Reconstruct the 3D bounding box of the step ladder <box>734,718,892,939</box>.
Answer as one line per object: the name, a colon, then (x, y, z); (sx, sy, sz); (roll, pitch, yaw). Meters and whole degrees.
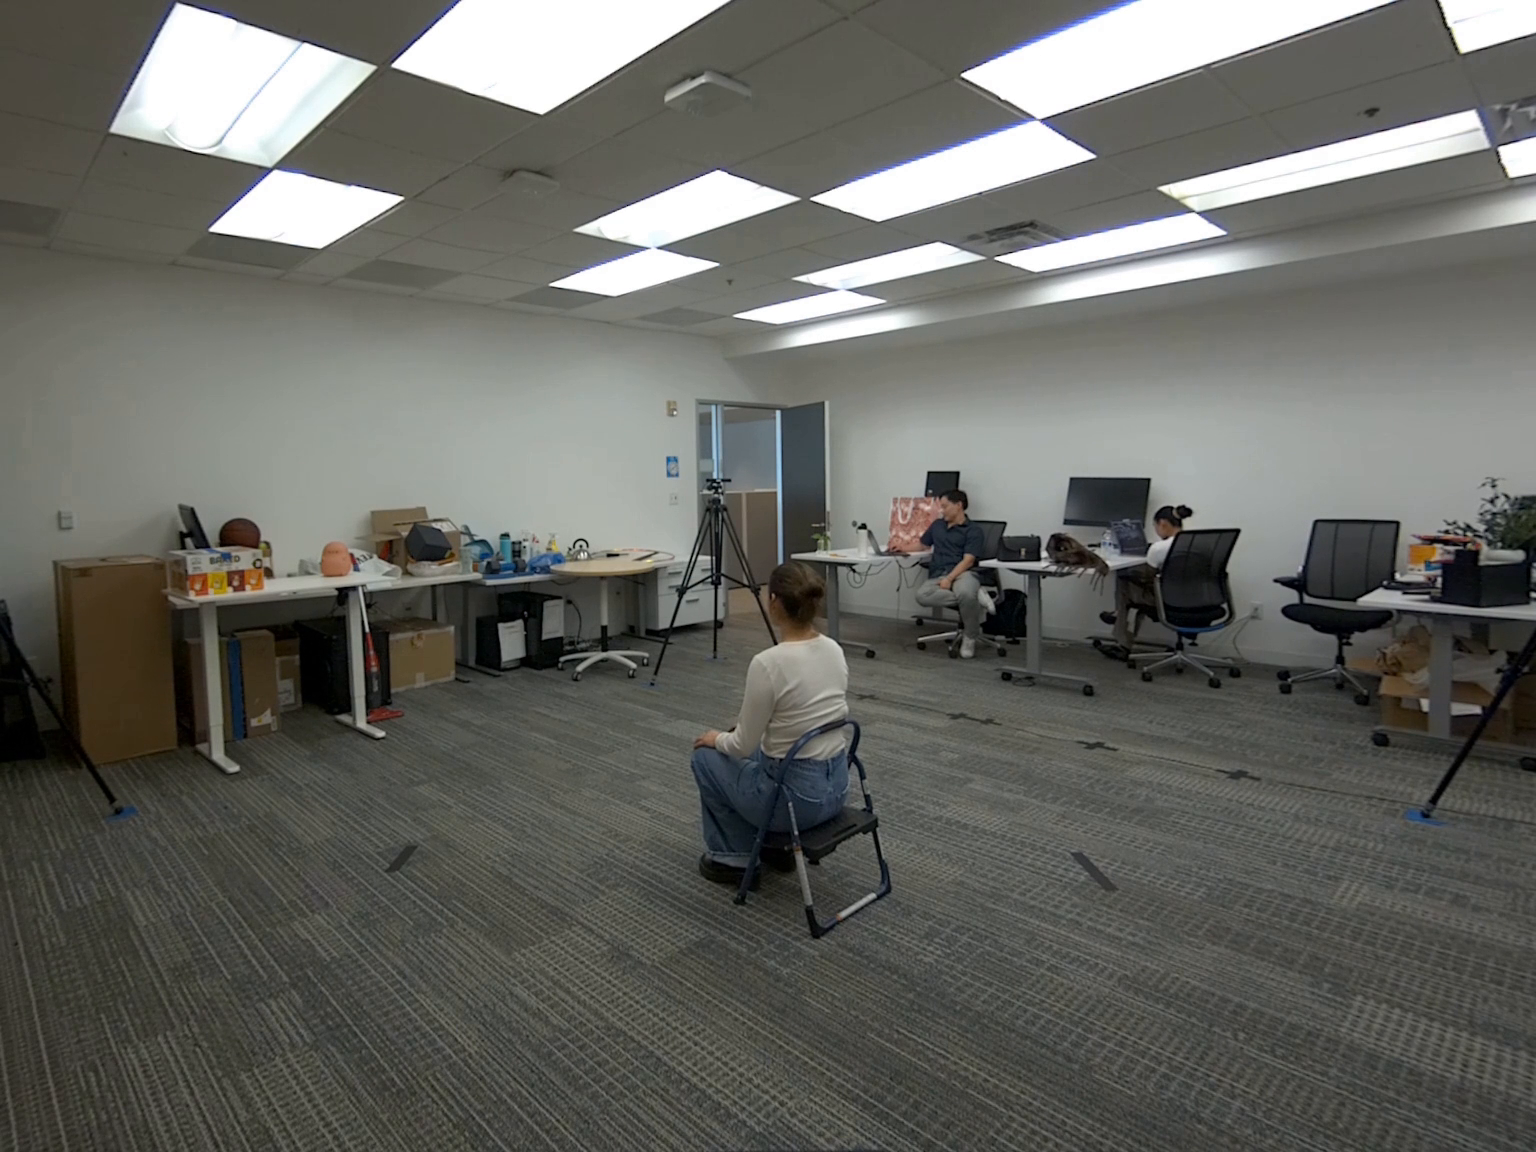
step ladder: (0.153, 0.768, 2.827); (0.360, 0.604, 0.419); (3, 6, 42)
